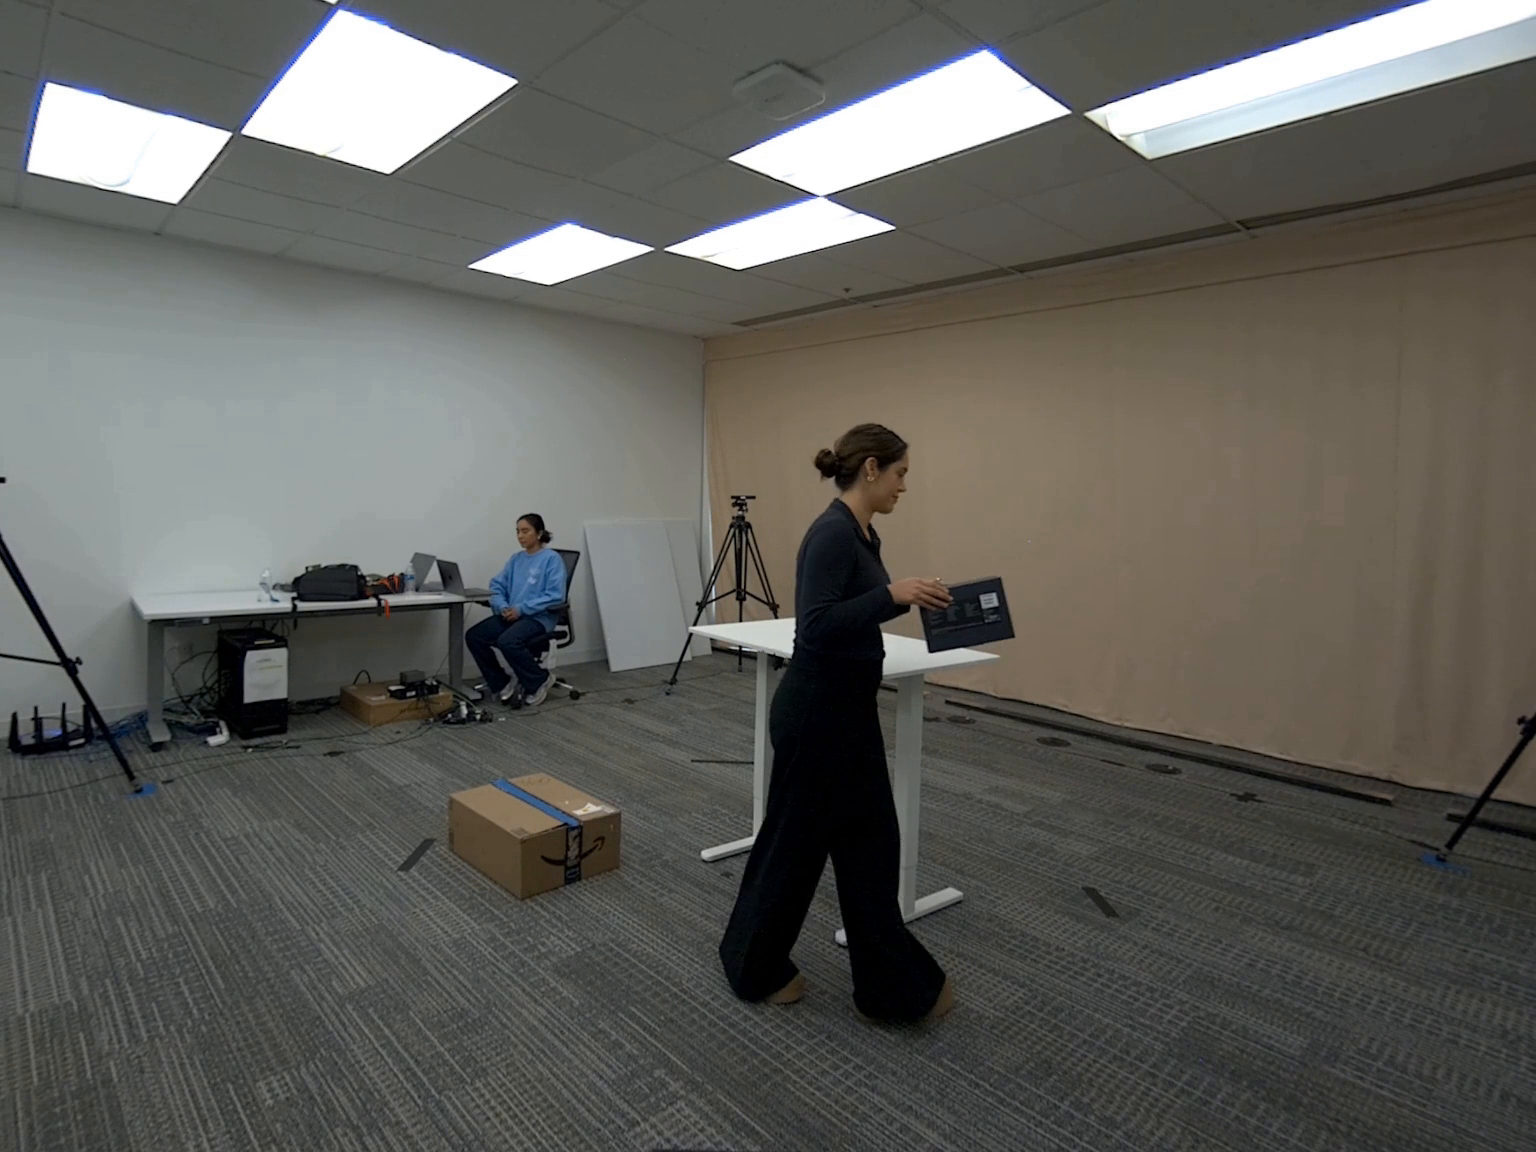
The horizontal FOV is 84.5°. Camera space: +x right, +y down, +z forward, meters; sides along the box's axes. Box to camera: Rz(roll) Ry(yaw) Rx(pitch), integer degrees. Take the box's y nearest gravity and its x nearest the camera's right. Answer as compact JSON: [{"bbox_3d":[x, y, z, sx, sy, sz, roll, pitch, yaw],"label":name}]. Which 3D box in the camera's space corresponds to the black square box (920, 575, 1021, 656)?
[{"bbox_3d":[0.514,0.097,2.209,0.218,0.156,0.226,-12,-2,10],"label":"black square box"}]
